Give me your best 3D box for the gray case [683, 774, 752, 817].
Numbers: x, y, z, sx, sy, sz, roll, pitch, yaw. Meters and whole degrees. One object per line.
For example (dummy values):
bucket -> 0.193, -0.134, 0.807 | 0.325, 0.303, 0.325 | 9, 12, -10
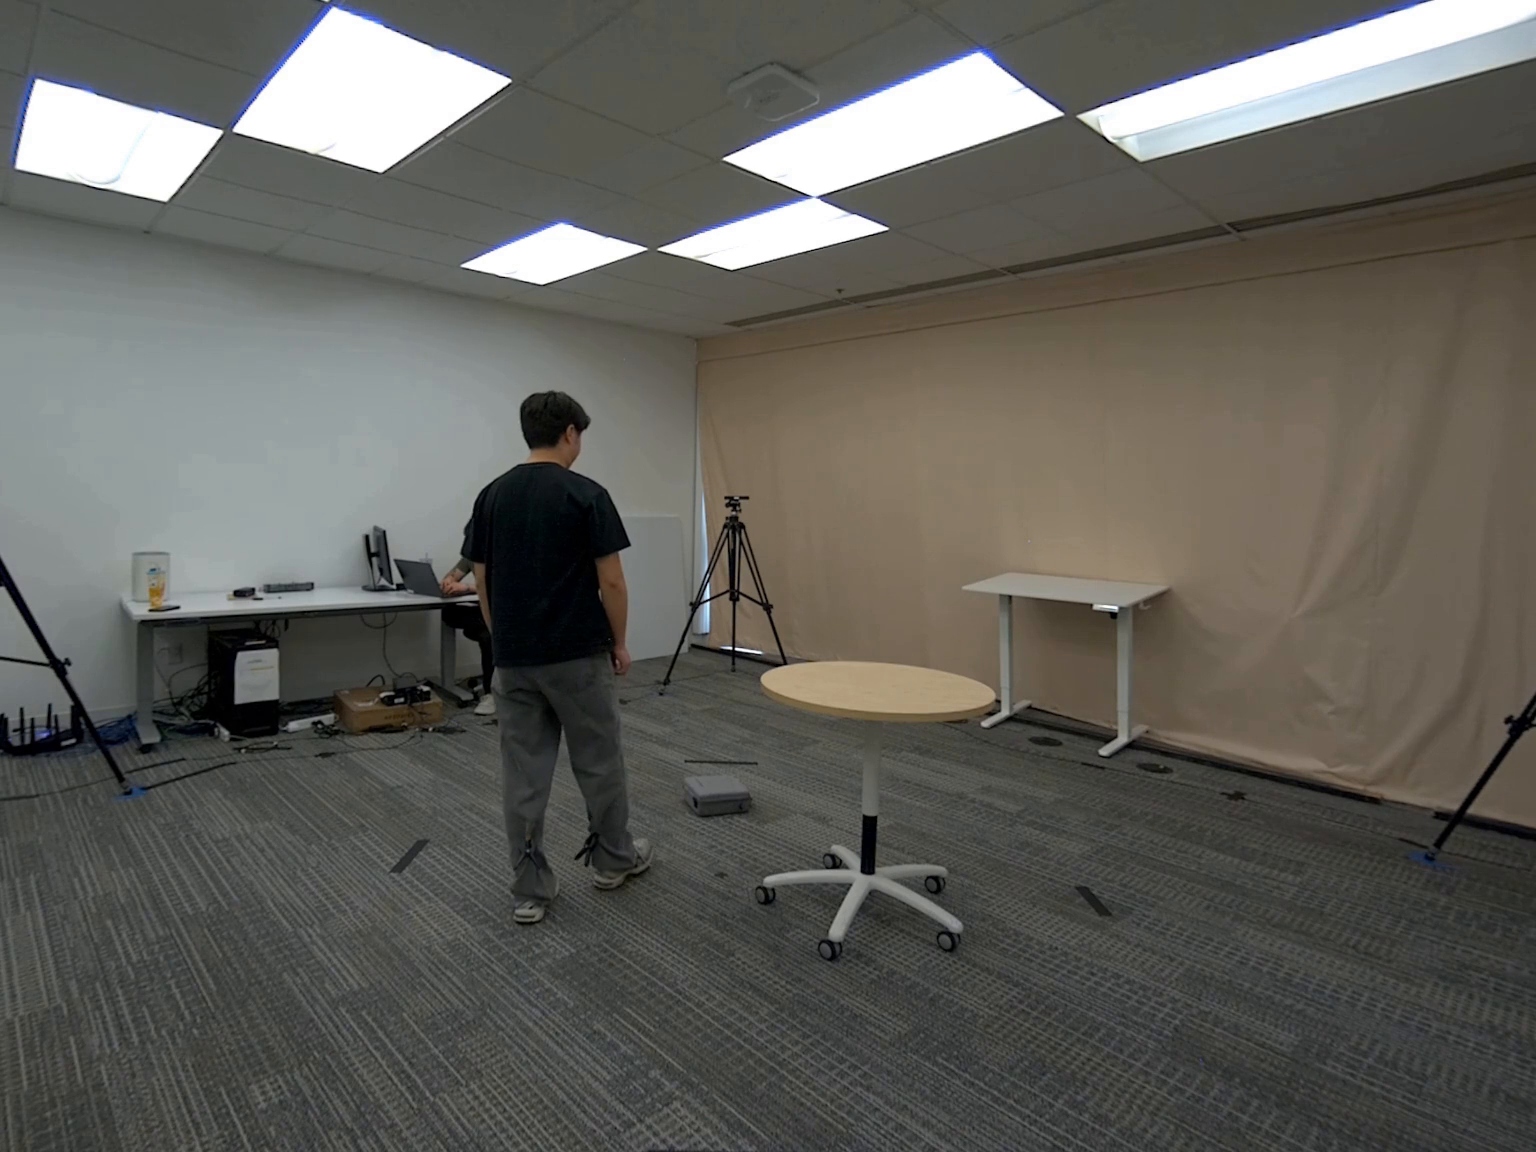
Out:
gray case -> -0.234, 0.986, 3.813 | 0.283, 0.103, 0.268 | 1, 5, -21
